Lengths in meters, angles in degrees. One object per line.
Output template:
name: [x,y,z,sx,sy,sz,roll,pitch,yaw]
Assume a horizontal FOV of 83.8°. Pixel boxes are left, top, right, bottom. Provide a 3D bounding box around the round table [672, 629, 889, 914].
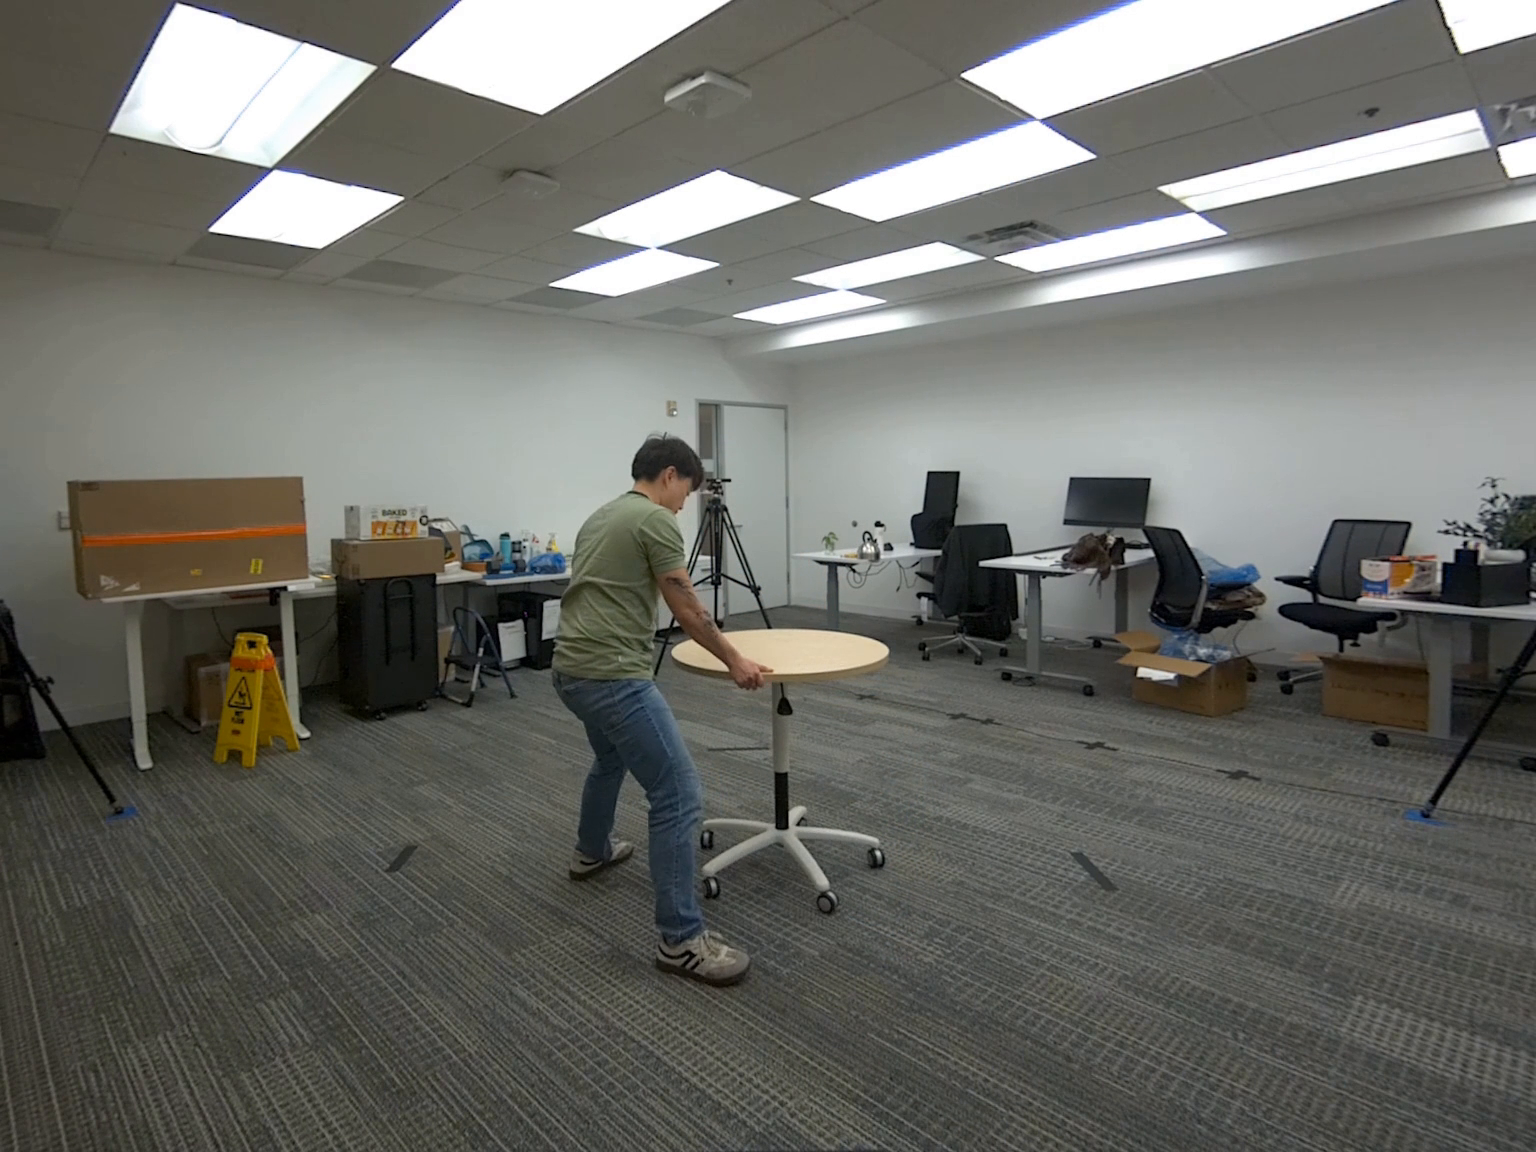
round table: [0.050,0.654,3.056,0.763,0.791,0.768,-1,5,-2]
